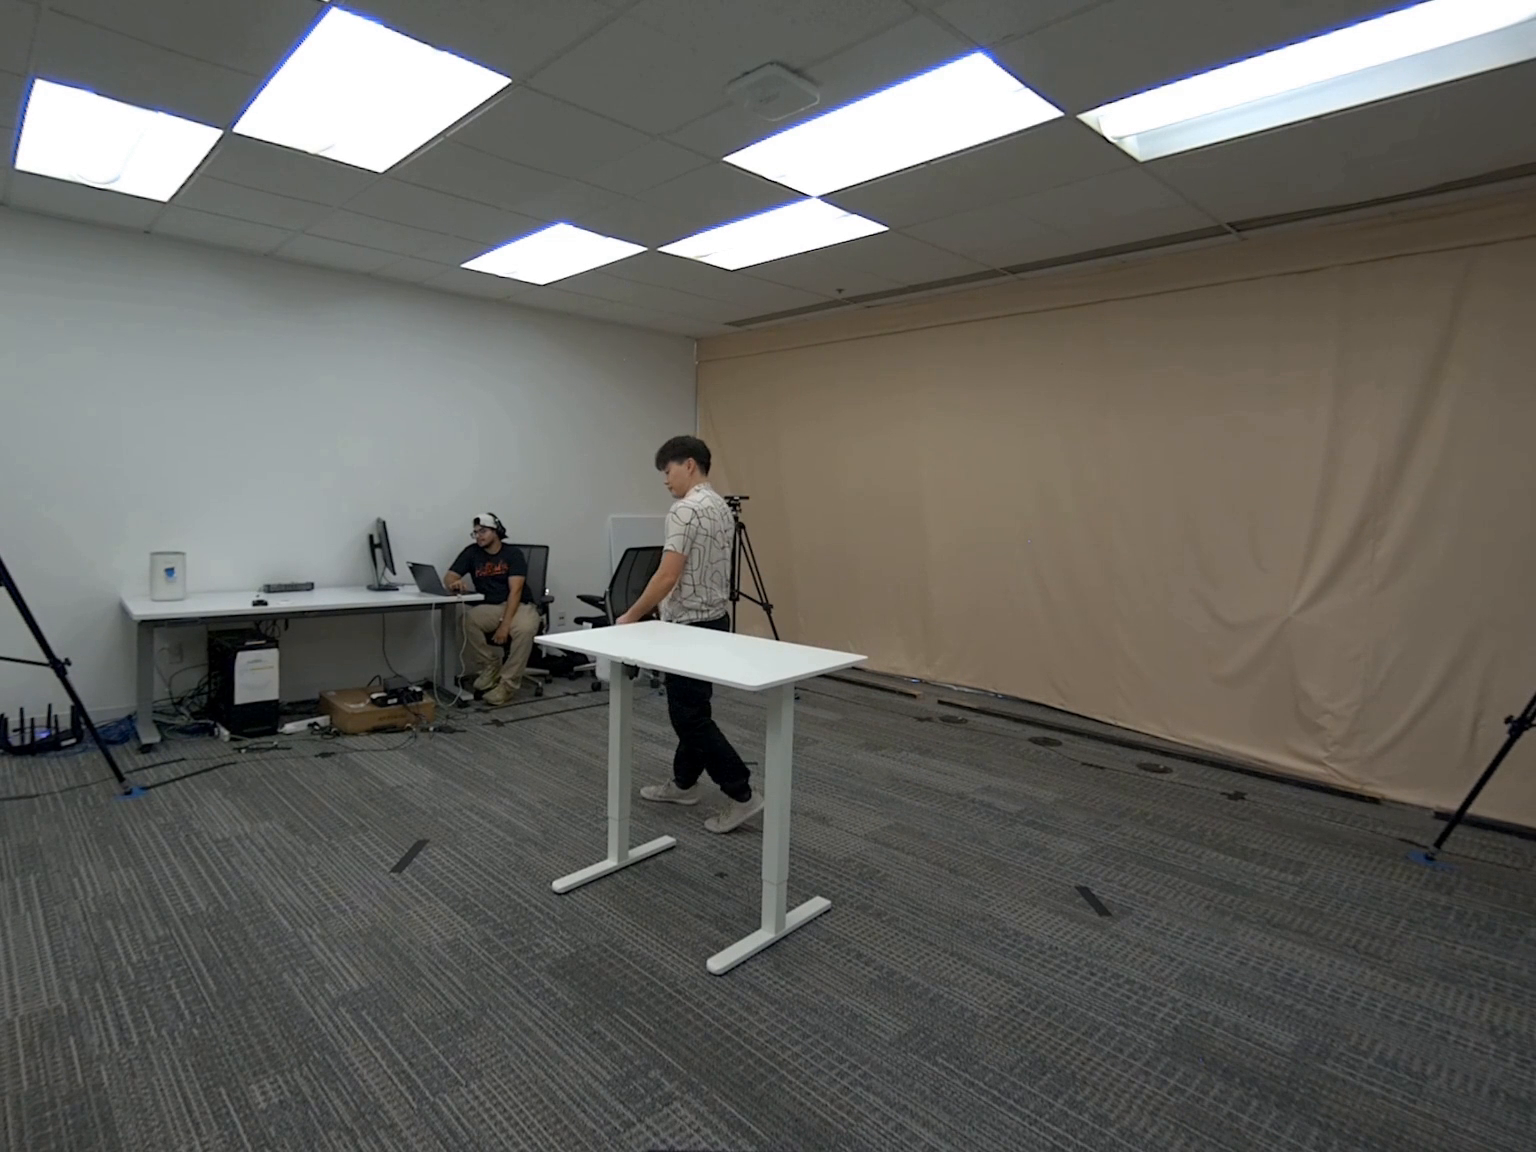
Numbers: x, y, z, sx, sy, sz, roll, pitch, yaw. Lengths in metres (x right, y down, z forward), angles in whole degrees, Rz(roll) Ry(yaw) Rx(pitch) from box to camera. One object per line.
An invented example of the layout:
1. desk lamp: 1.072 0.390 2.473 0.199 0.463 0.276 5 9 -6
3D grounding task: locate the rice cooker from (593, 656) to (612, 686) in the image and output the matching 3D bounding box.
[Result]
1. rice cooker: -0.624 0.328 3.578 0.220 0.231 0.219 3 8 -4
